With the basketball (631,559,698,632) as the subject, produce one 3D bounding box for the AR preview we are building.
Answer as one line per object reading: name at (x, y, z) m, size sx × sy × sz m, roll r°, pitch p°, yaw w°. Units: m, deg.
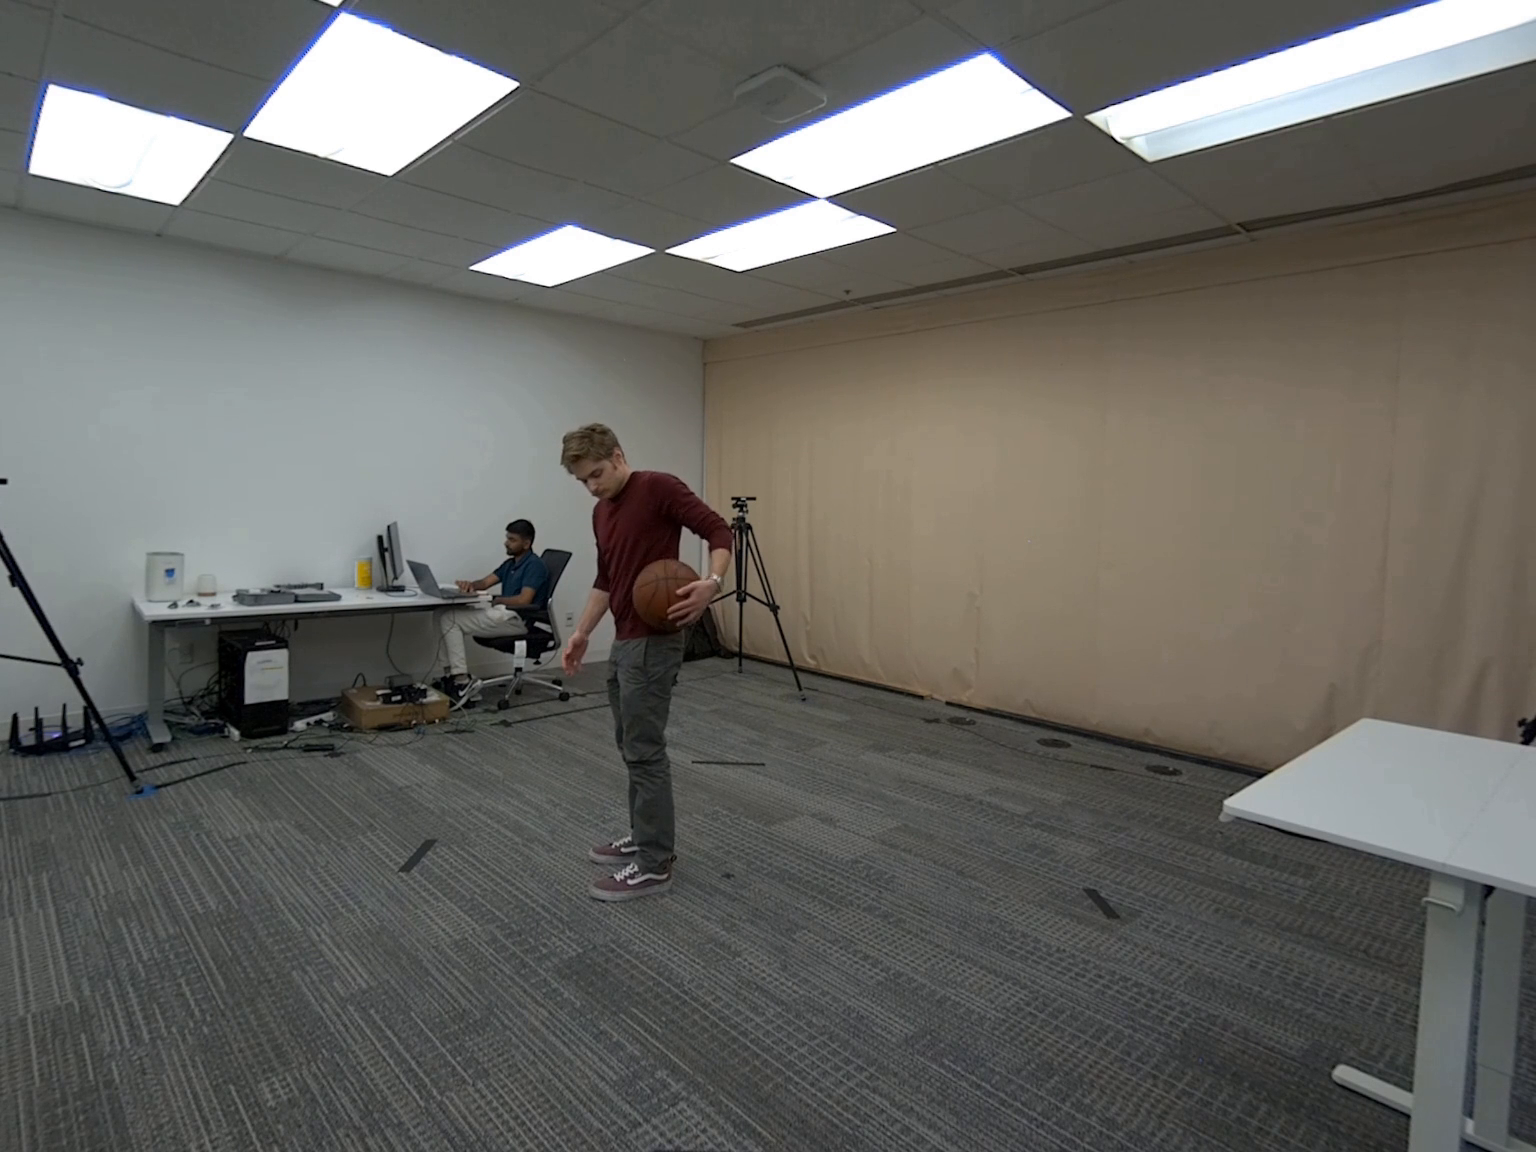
basketball at (-0.343, 0.063, 2.819) m, size 0.236 × 0.235 × 0.237 m, roll 1°, pitch 4°, yaw -1°
